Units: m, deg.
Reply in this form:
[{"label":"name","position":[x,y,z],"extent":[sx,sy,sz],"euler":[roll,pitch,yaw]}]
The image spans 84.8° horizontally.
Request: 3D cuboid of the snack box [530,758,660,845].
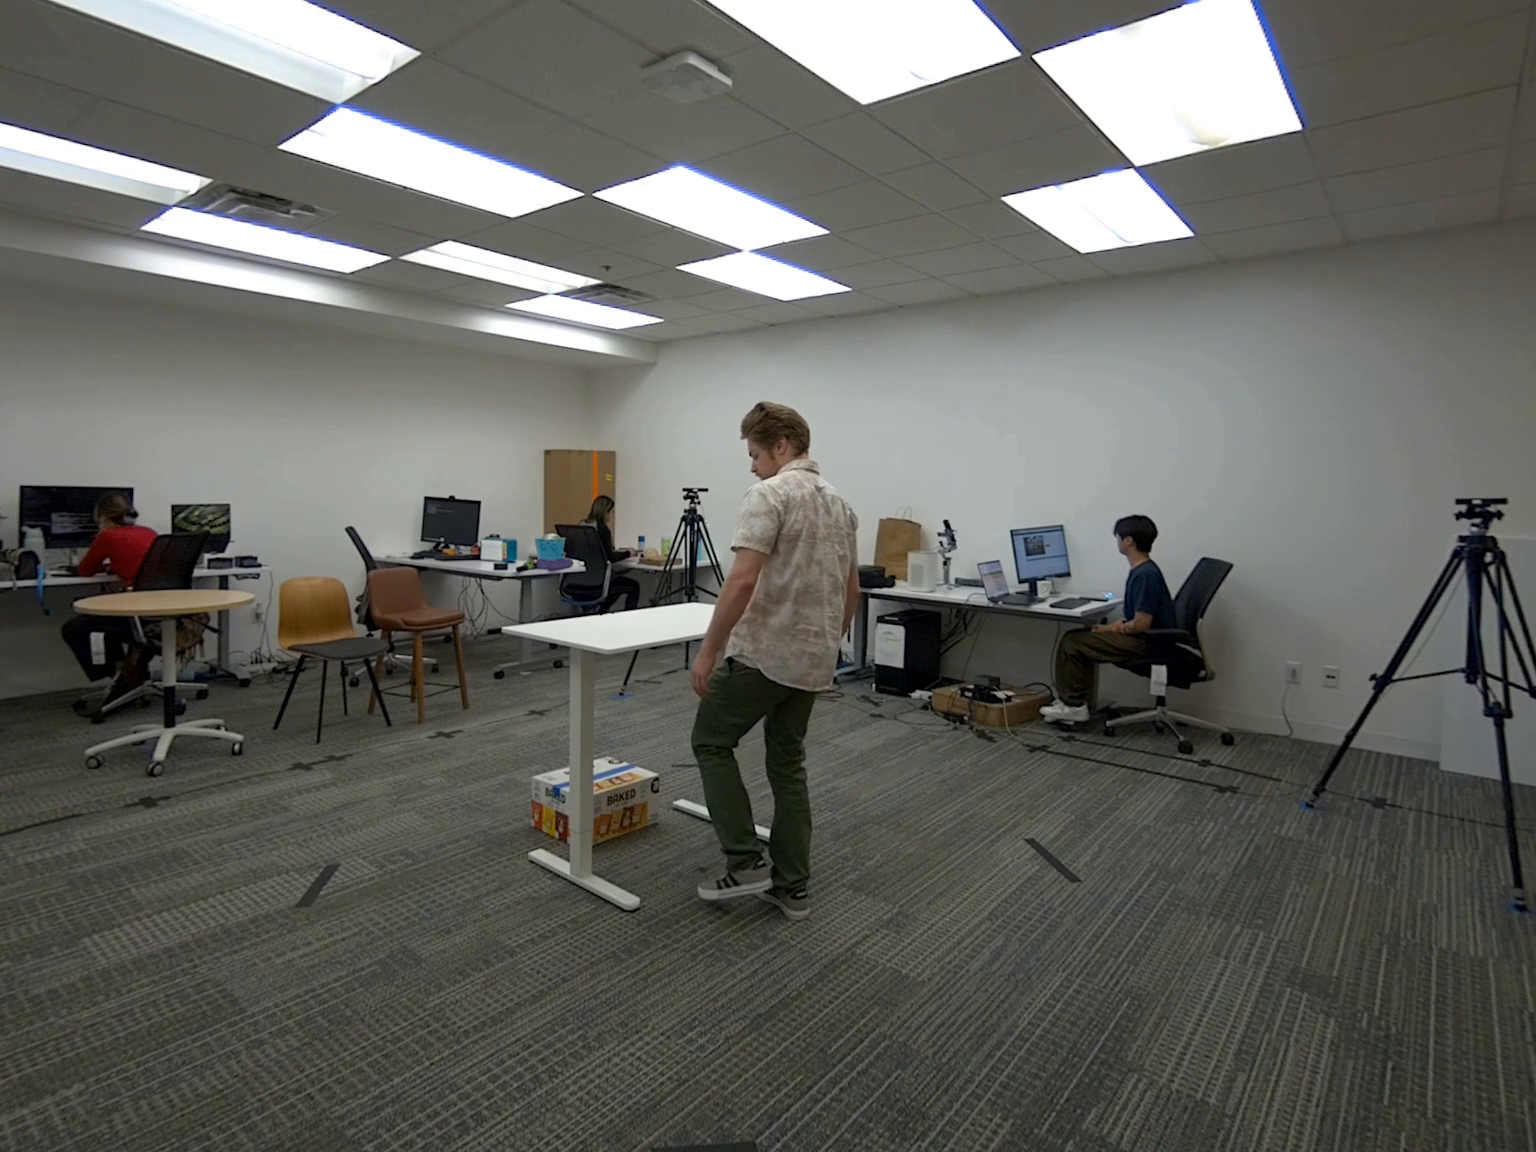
[{"label":"snack box","position":[-0.722,0.922,3.505],"extent":[0.352,0.205,0.393],"euler":[5,7,42]}]
